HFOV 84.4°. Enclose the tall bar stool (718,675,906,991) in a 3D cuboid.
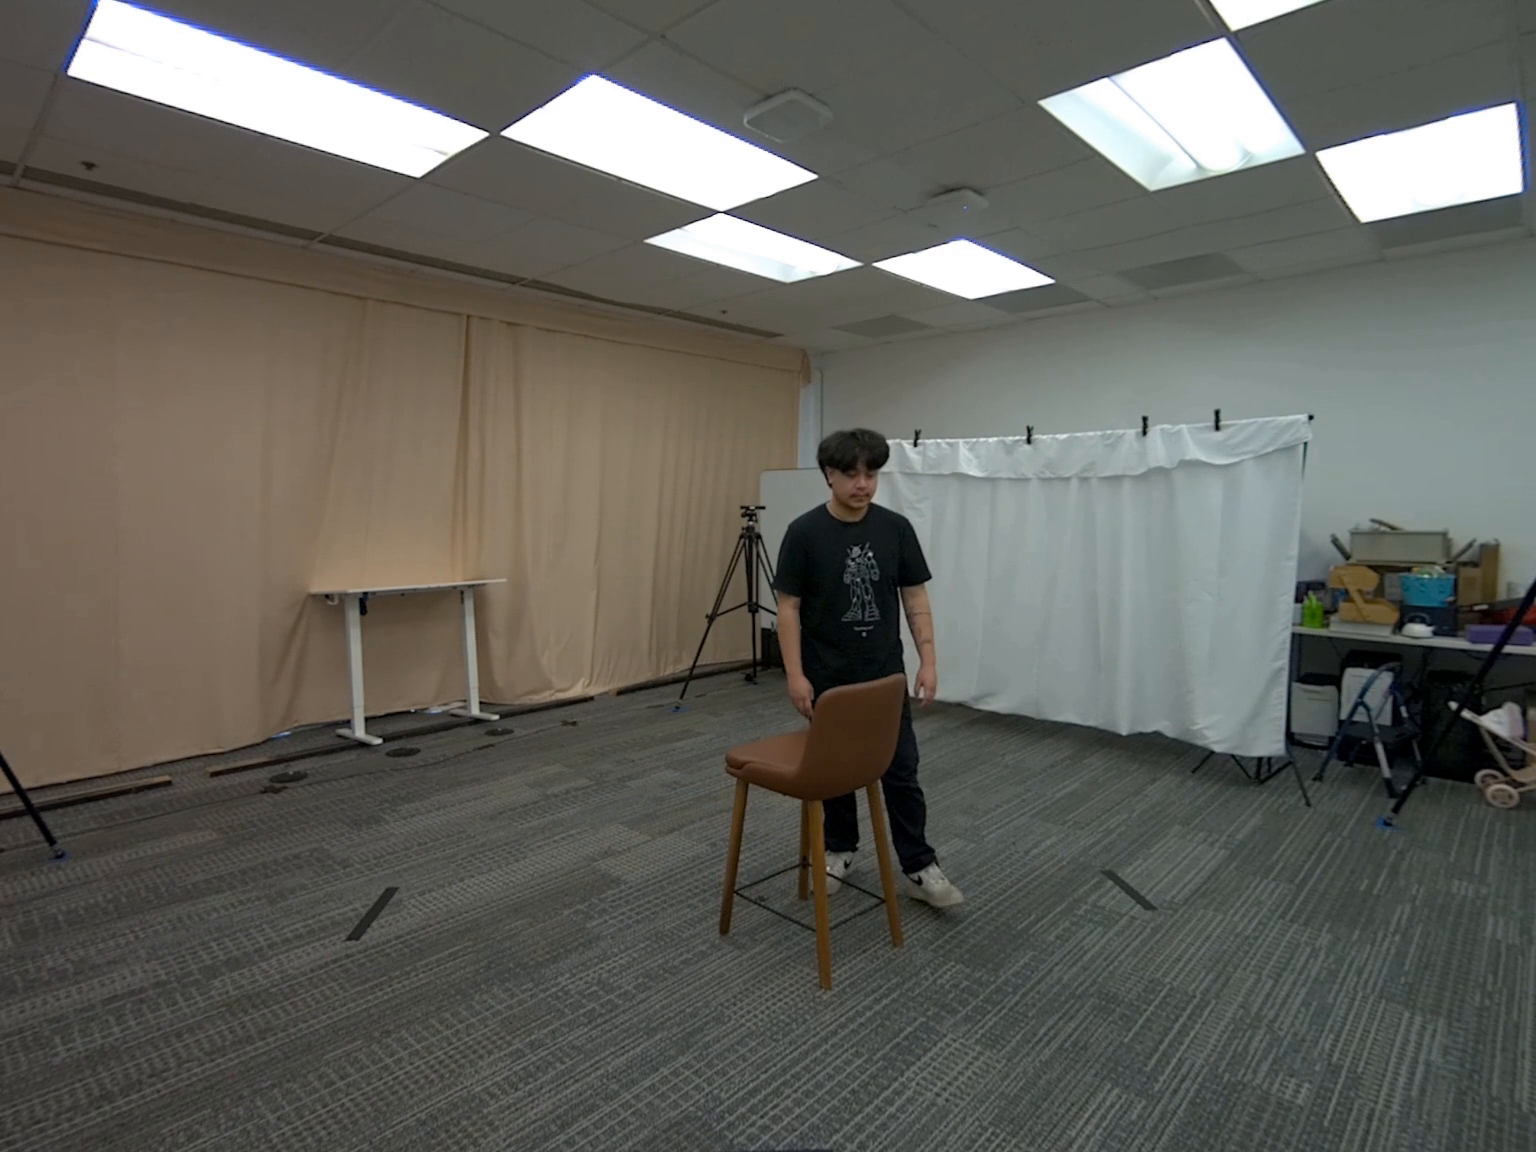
[{"bbox_3d":[0.145,0.733,2.678,0.442,0.887,0.484,-3,7,-42],"label":"tall bar stool"}]
